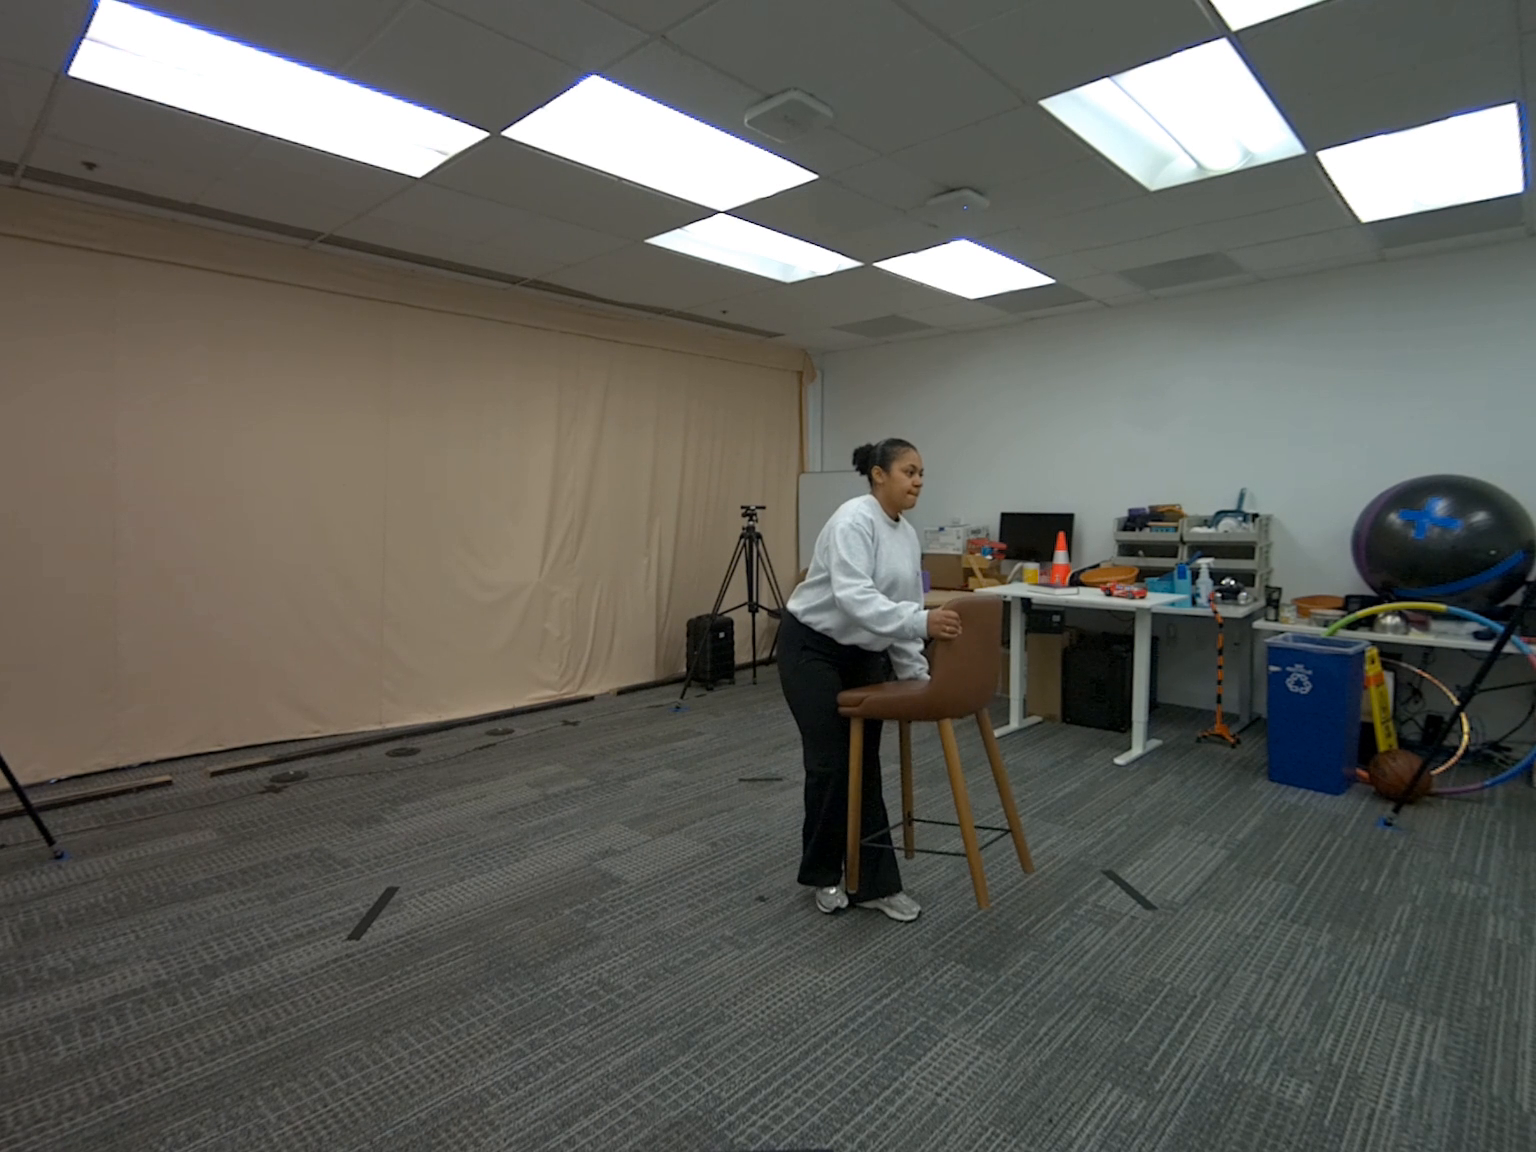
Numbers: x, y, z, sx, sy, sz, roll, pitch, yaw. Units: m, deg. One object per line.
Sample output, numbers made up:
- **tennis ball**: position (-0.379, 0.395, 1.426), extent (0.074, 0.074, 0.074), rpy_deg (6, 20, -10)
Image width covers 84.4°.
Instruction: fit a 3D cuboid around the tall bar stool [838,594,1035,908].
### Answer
- **tall bar stool**: position (0.515, 0.532, 2.669), extent (0.481, 0.892, 0.442), rpy_deg (-7, -4, 37)
